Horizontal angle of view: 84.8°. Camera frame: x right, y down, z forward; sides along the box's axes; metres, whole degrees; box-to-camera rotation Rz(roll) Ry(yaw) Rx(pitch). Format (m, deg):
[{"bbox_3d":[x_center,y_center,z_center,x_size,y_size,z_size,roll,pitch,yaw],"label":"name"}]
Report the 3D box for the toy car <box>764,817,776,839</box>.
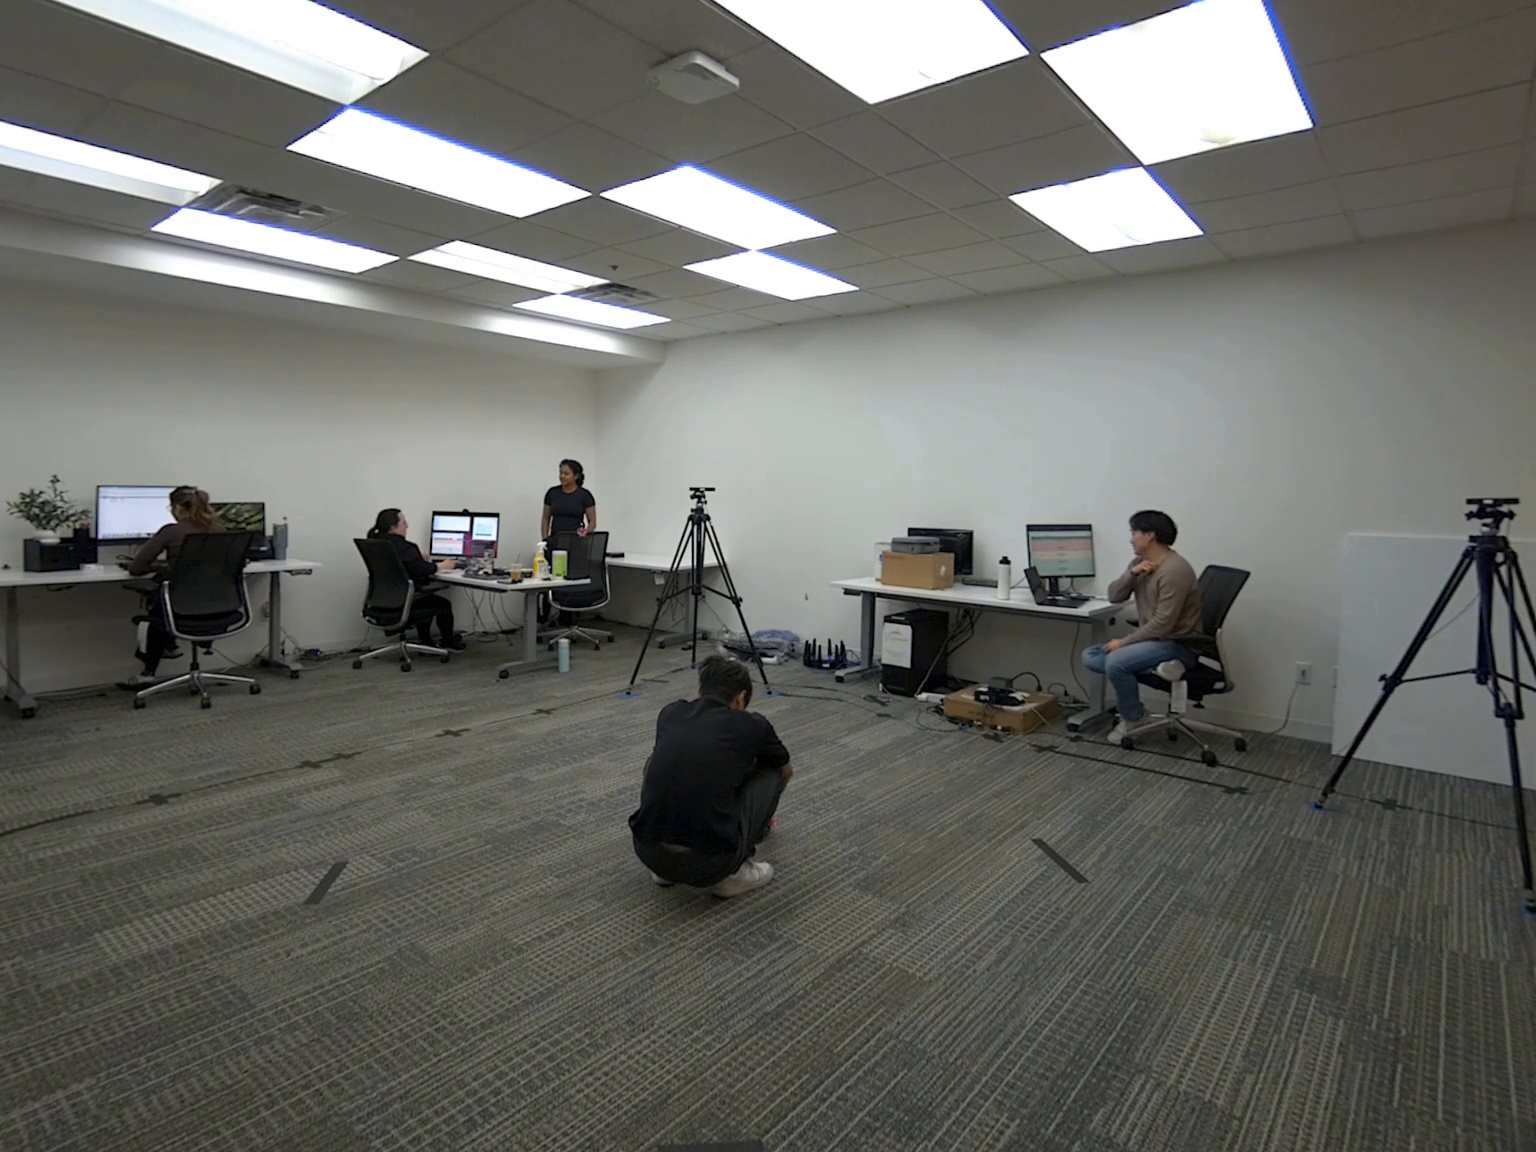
[{"bbox_3d":[-0.082,1.000,3.413,0.135,0.082,0.249,5,19,45],"label":"toy car"}]
